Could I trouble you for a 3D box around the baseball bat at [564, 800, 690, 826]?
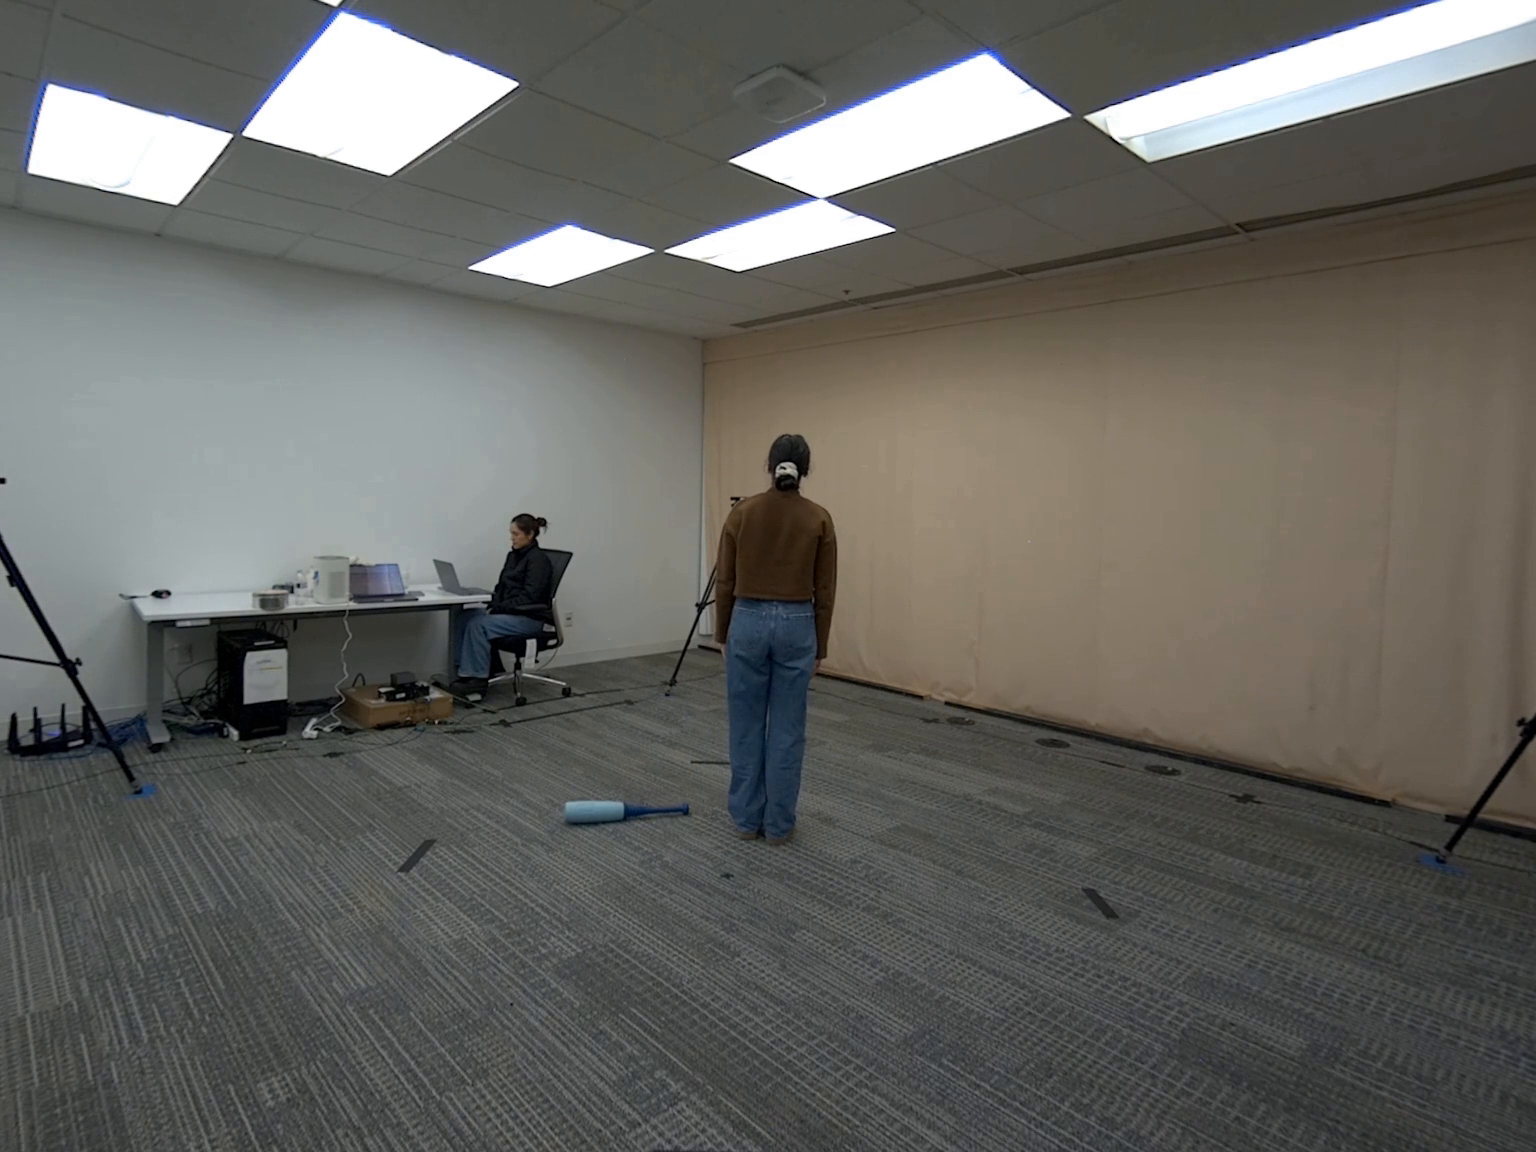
[{"bbox_3d":[-0.609,1.006,3.628,0.536,0.089,0.090,3,4,-16],"label":"baseball bat"}]
